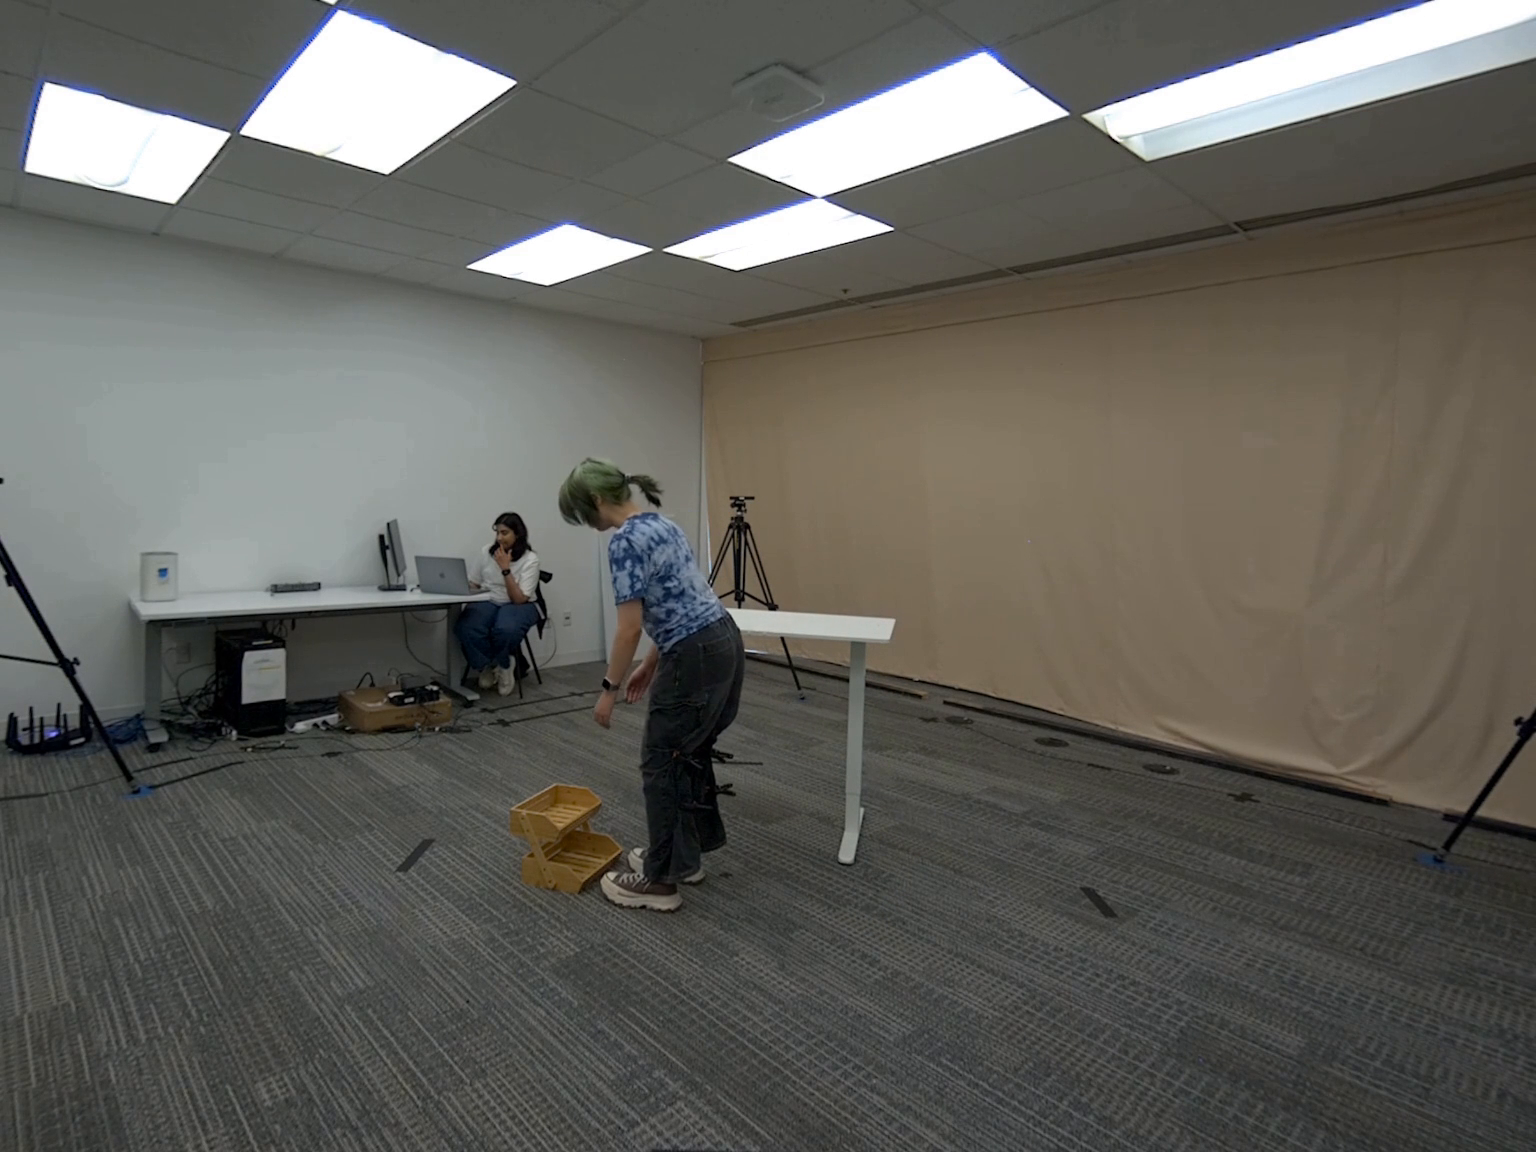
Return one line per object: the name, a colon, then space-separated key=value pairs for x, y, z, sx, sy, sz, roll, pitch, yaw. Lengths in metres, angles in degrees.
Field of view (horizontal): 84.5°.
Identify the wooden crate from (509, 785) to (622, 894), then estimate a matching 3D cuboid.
wooden crate: x=-0.730 y=0.953 z=3.107 sx=0.307 sy=0.272 sz=0.320 roll=3 pitch=5 yaw=20
